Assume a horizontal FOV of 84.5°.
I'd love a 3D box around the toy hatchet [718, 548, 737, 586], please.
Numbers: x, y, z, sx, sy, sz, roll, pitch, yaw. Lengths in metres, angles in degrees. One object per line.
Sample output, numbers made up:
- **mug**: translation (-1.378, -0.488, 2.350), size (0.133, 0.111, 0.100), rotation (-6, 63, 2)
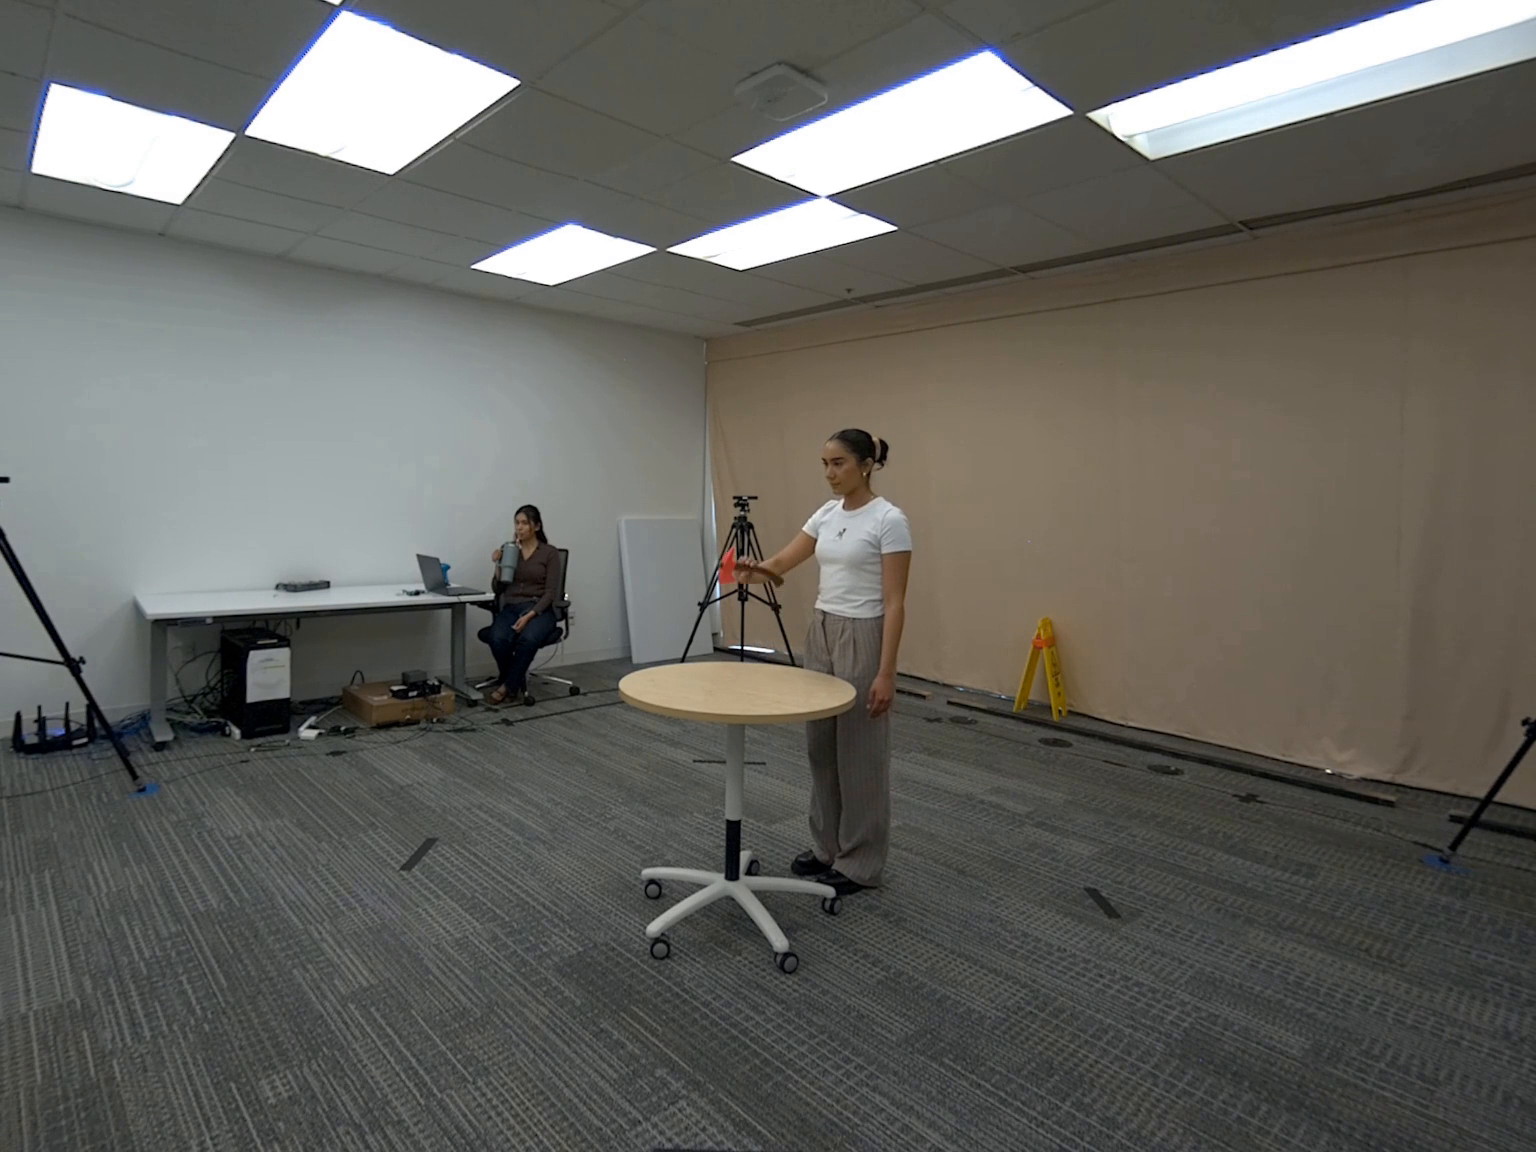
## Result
- **toy hatchet**: translation (-0.069, 0.008, 2.851), size (0.262, 0.131, 0.030), rotation (32, 5, -33)
